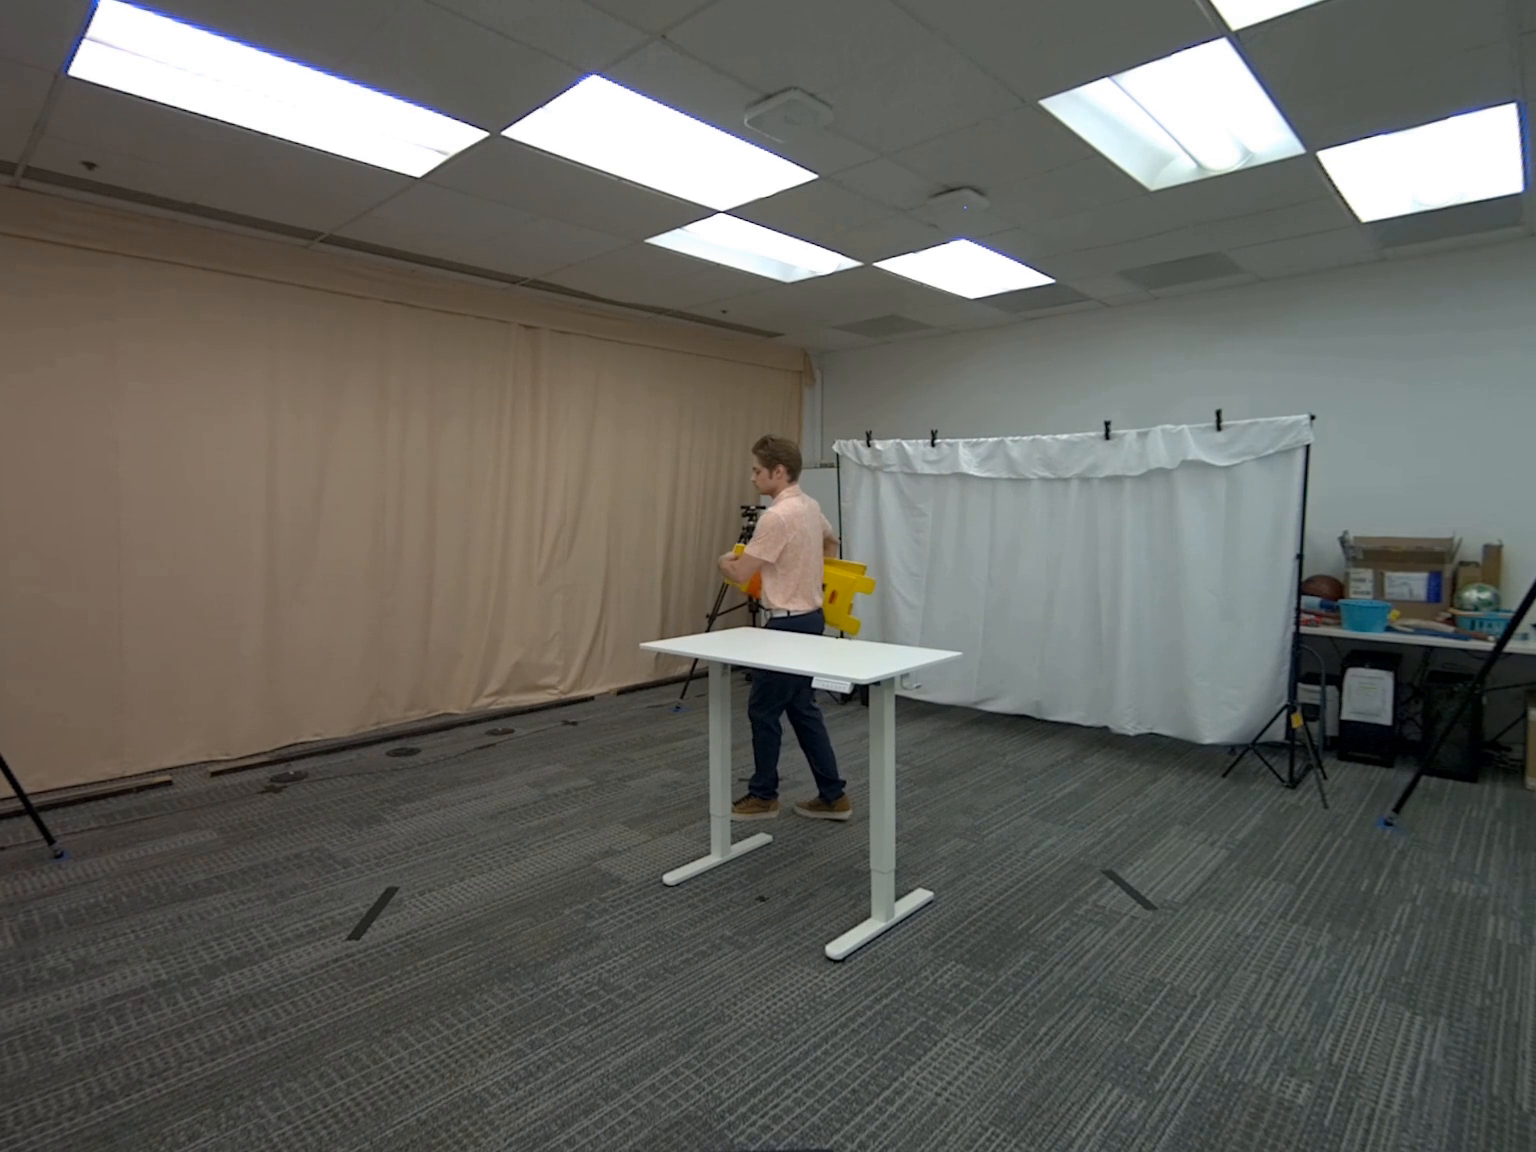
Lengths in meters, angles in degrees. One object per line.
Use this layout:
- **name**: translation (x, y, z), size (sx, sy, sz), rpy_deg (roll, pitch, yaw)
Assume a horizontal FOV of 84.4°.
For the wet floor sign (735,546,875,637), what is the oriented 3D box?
- **wet floor sign**: translation (0.136, 0.030, 3.929), size (0.643, 0.281, 0.292), rpy_deg (17, 14, -4)
